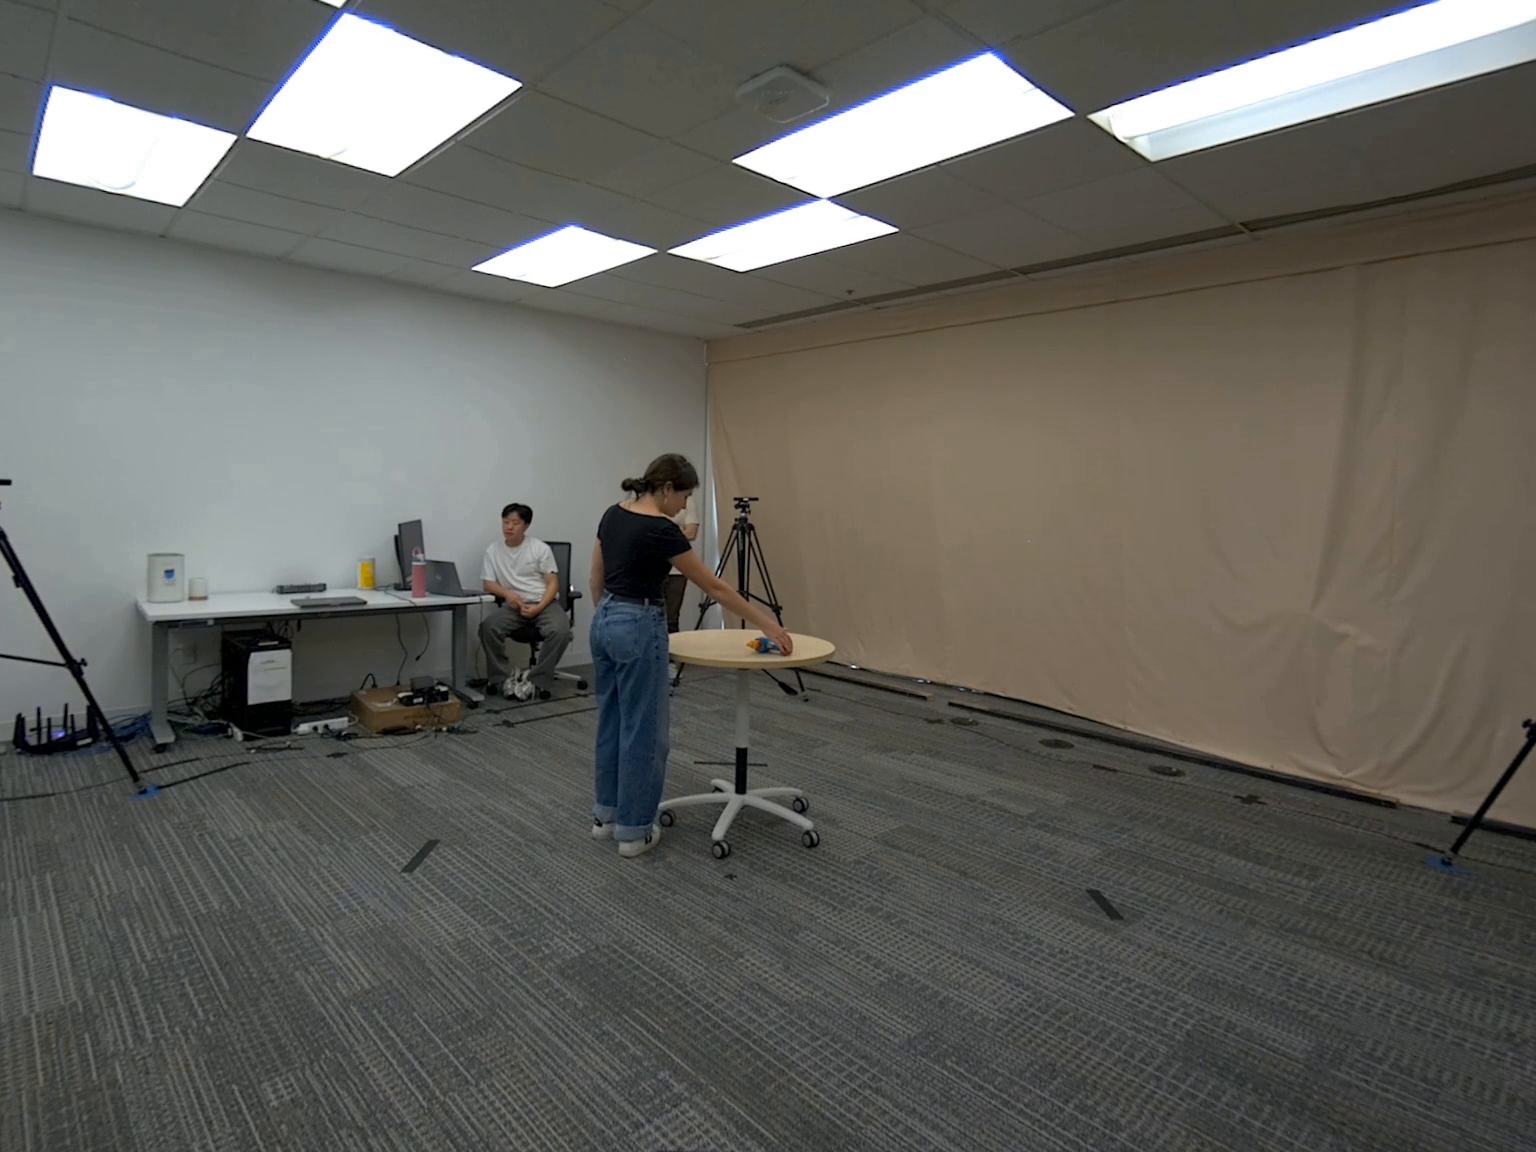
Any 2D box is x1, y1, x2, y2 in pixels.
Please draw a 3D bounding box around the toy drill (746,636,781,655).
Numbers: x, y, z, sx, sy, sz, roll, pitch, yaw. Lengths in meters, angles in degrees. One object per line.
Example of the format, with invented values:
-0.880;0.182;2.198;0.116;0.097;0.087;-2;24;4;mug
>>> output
-0.020;0.280;3.335;0.150;0.061;0.165;6;-1;38;toy drill
